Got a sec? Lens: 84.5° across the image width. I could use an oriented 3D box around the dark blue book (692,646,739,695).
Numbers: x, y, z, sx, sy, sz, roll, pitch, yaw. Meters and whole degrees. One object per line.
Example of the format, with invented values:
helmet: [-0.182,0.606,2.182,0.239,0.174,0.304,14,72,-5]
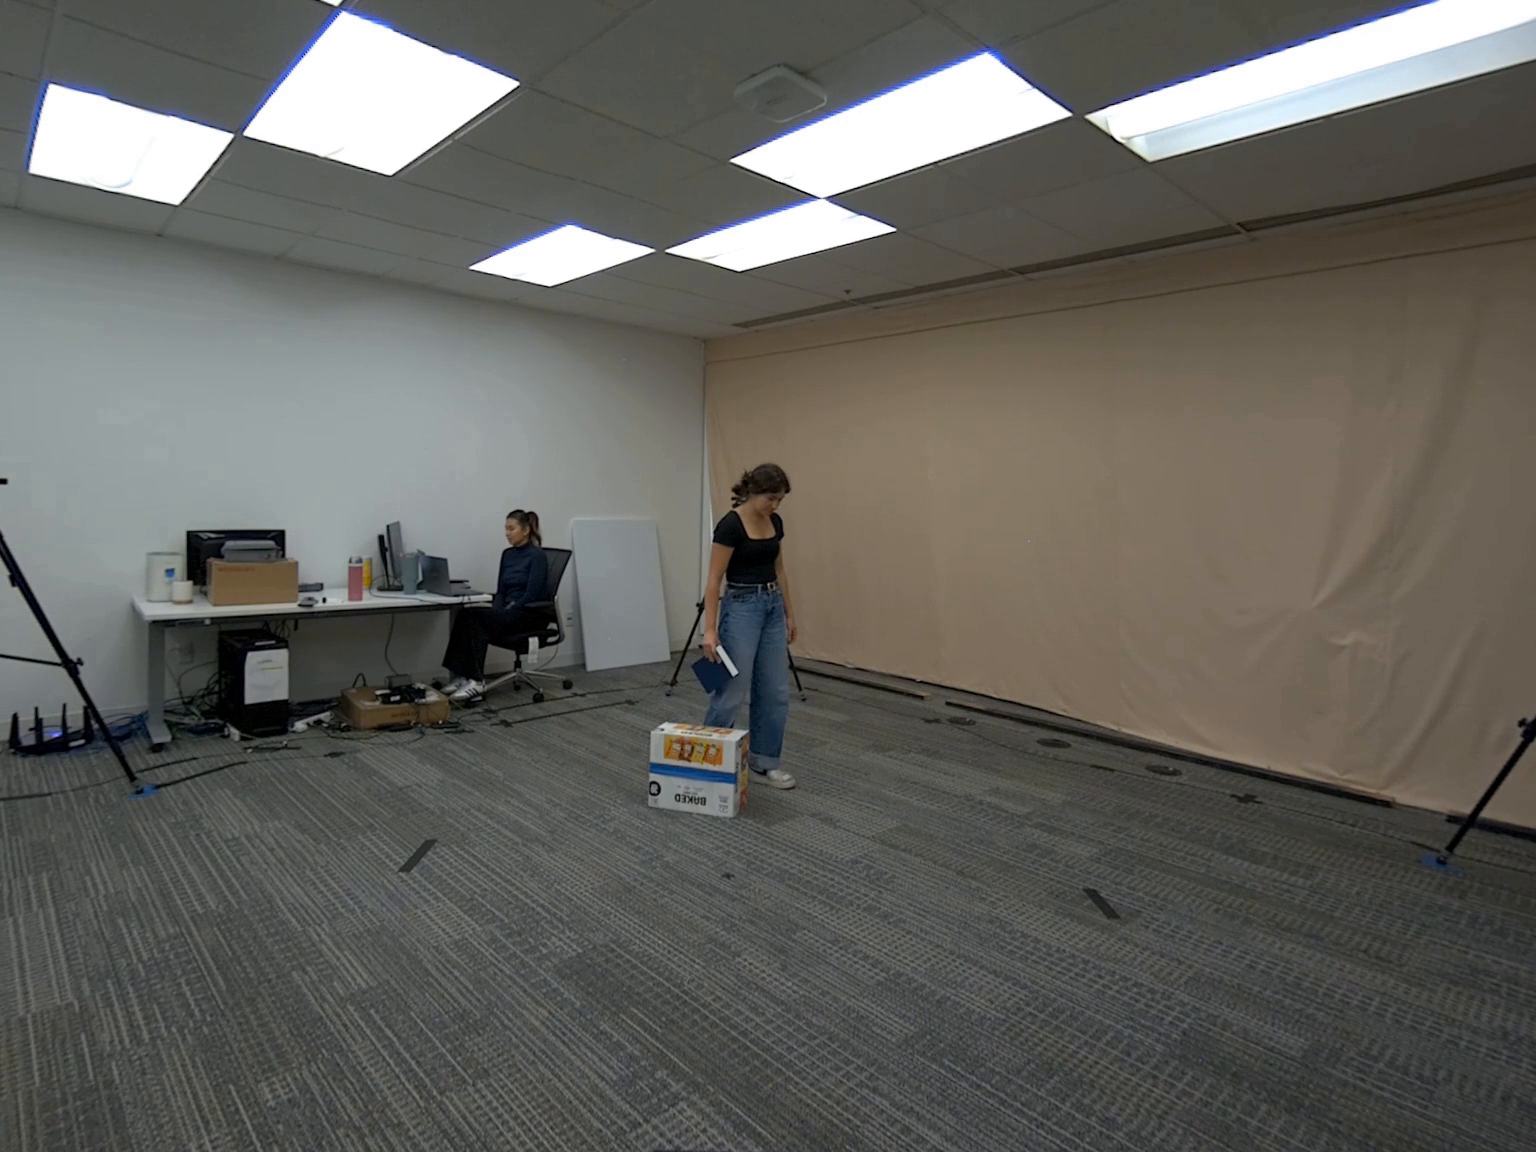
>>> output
dark blue book: [-0.258,0.440,3.958,0.044,0.165,0.245,-25,-11,-40]
